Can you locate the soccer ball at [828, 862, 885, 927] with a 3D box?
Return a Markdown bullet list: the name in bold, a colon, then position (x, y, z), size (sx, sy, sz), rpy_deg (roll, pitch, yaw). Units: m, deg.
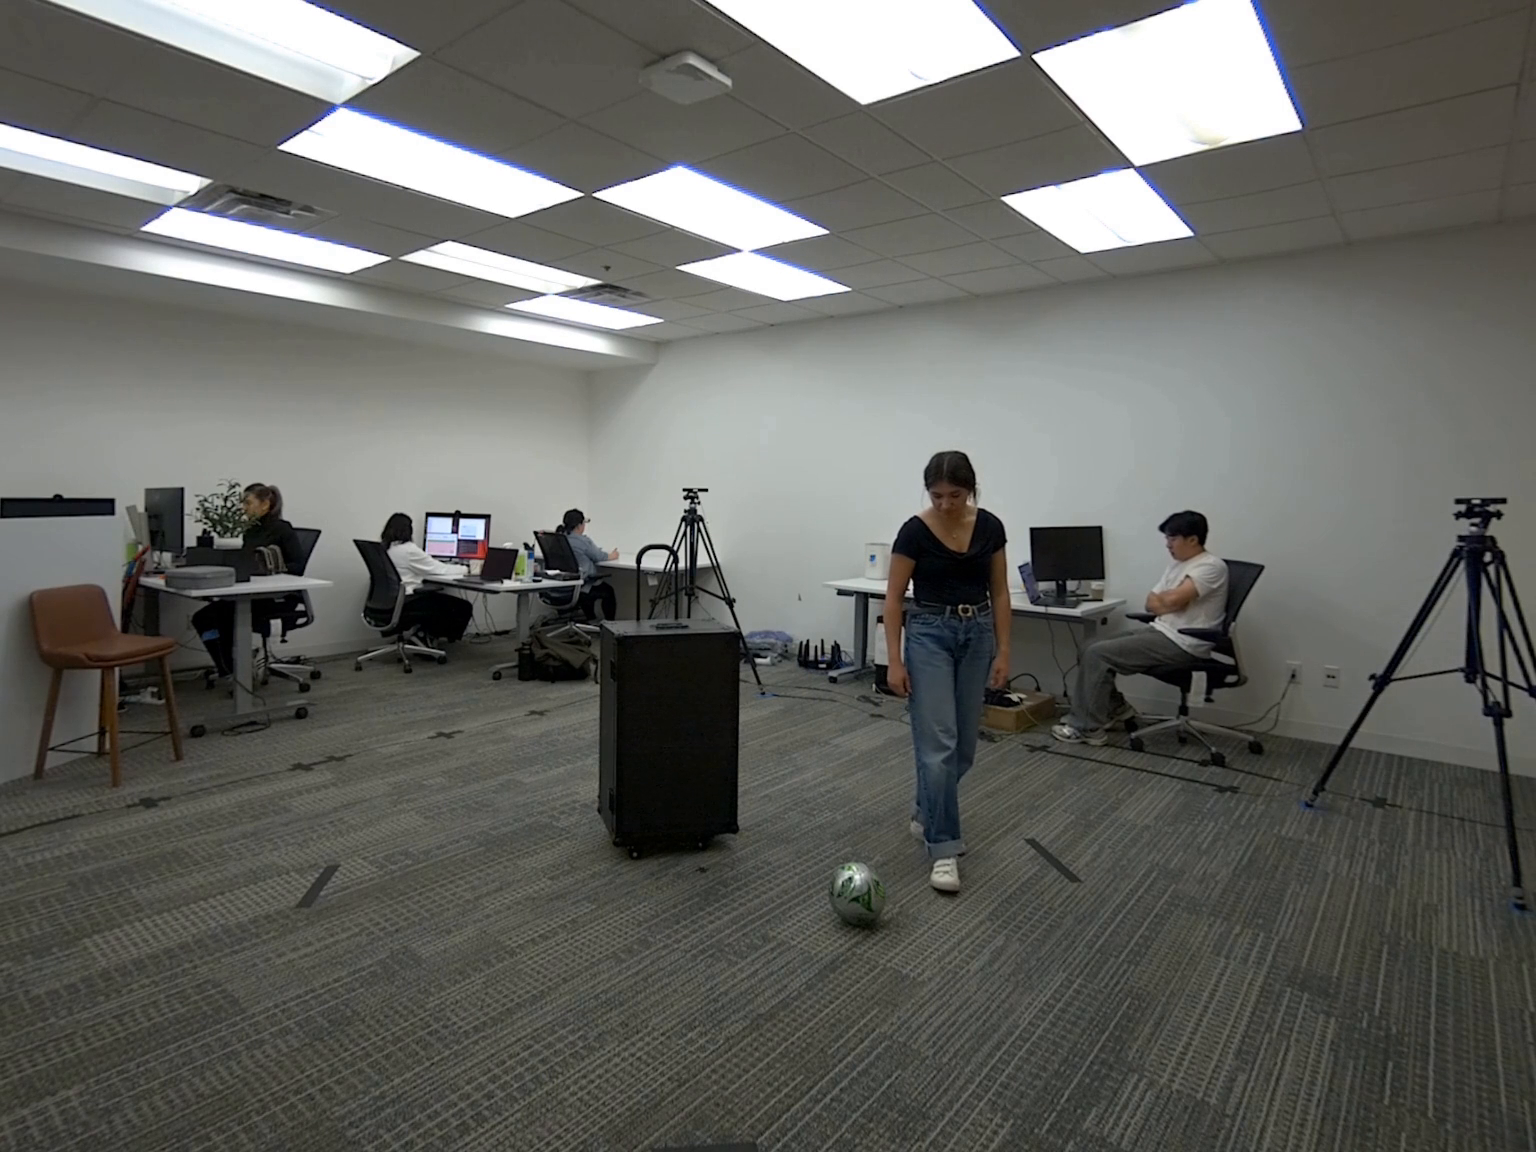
- **soccer ball**: position (0.292, 1.019, 2.751), size (0.187, 0.187, 0.188), rpy_deg (1, 4, -2)
